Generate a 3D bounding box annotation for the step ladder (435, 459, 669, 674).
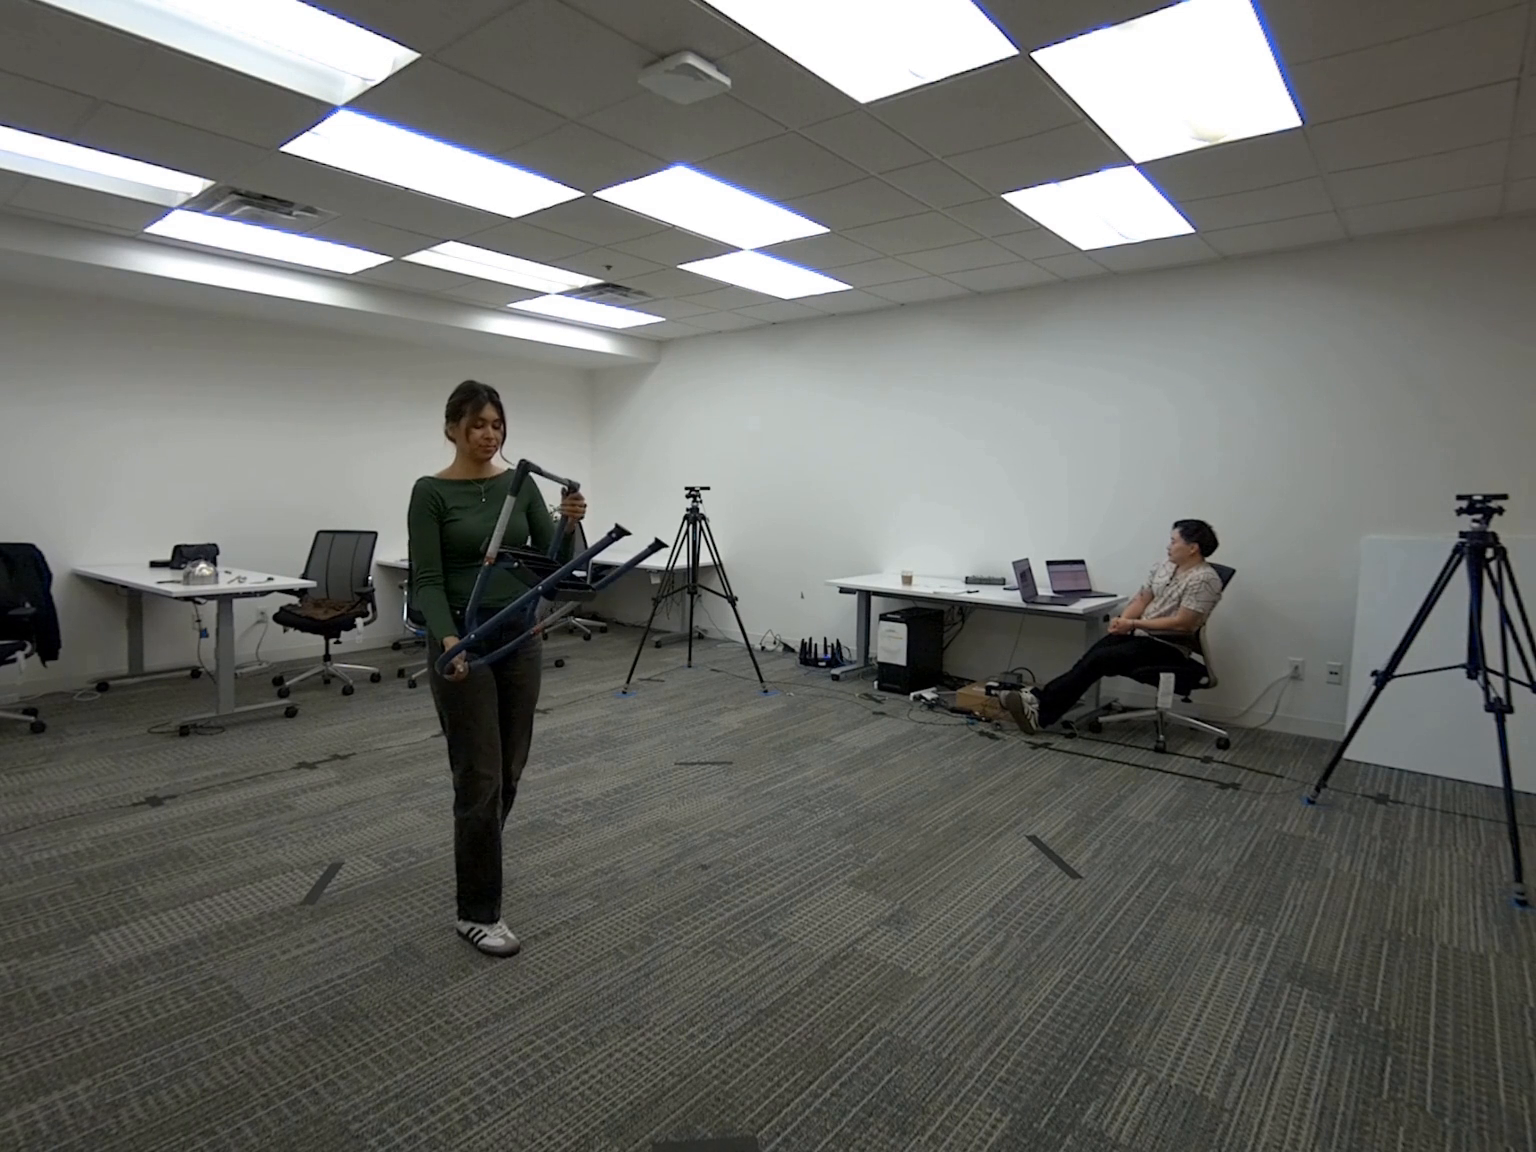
[{"bbox_3d":[-0.639,0.048,2.319,0.355,0.606,0.424,35,1,9],"label":"step ladder"}]
